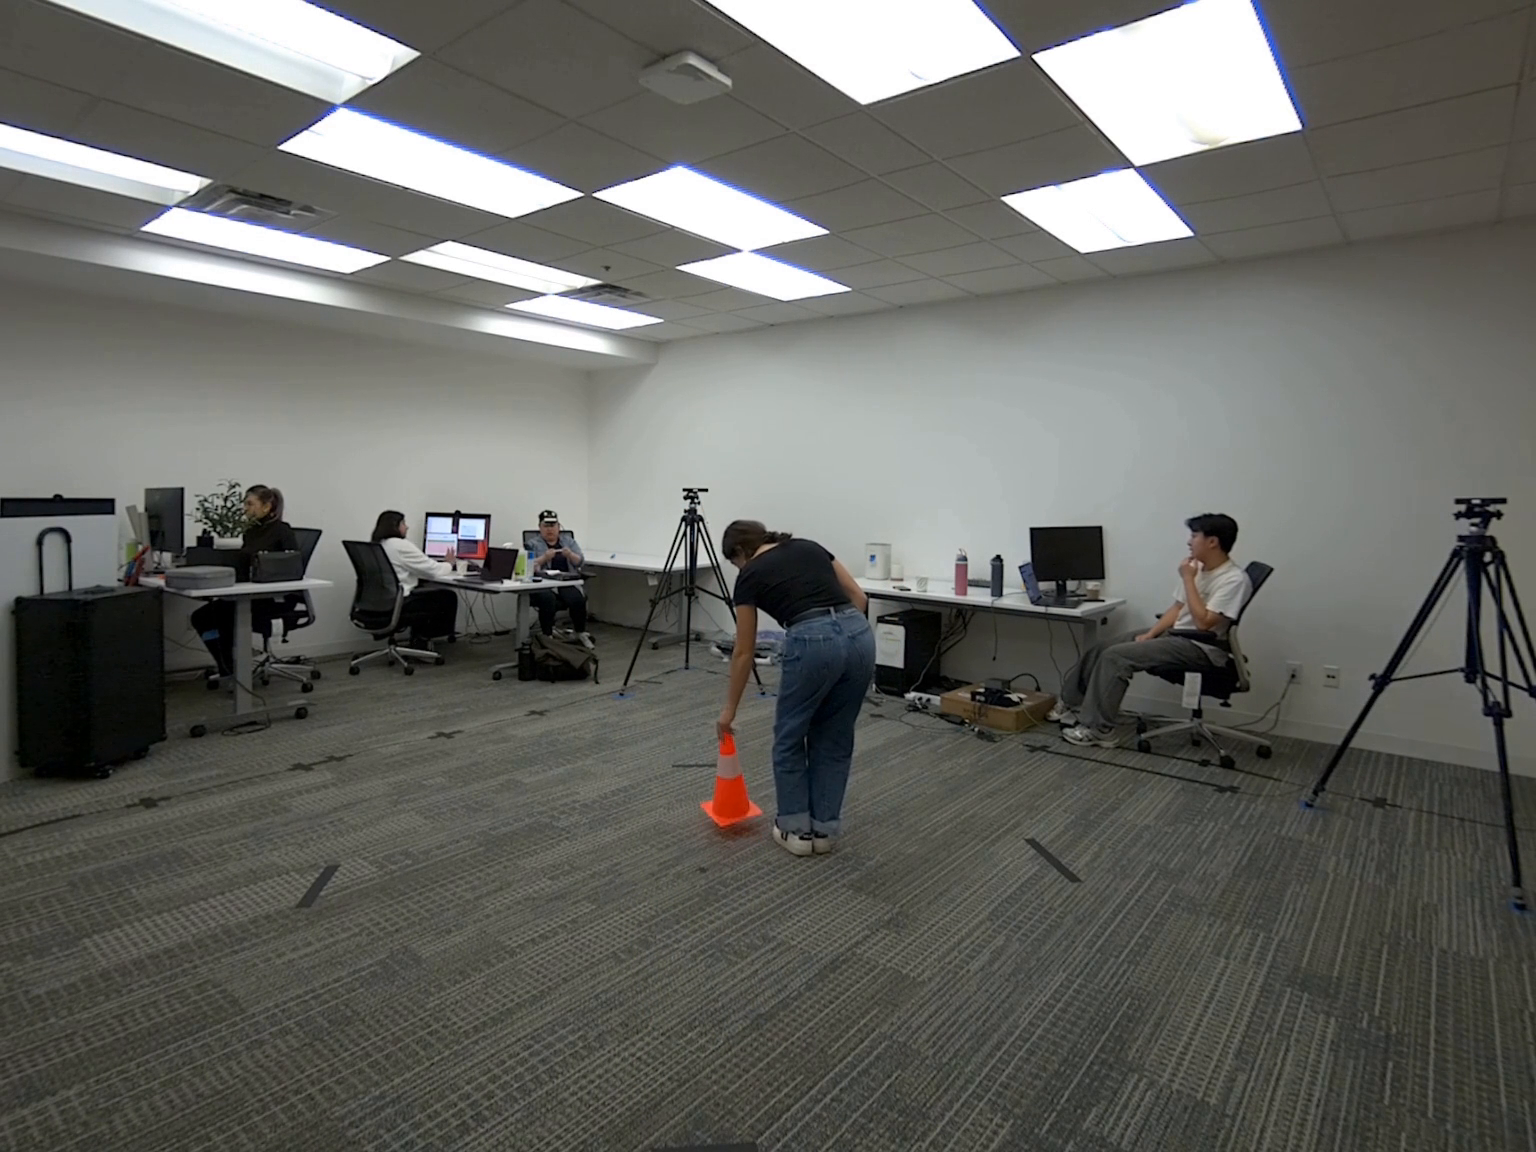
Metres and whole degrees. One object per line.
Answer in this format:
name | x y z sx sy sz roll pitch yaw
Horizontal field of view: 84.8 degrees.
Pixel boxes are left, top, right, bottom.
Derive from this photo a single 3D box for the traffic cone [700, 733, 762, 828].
traffic cone | -0.164 0.763 3.487 0.199 0.378 0.212 -12 17 -29
